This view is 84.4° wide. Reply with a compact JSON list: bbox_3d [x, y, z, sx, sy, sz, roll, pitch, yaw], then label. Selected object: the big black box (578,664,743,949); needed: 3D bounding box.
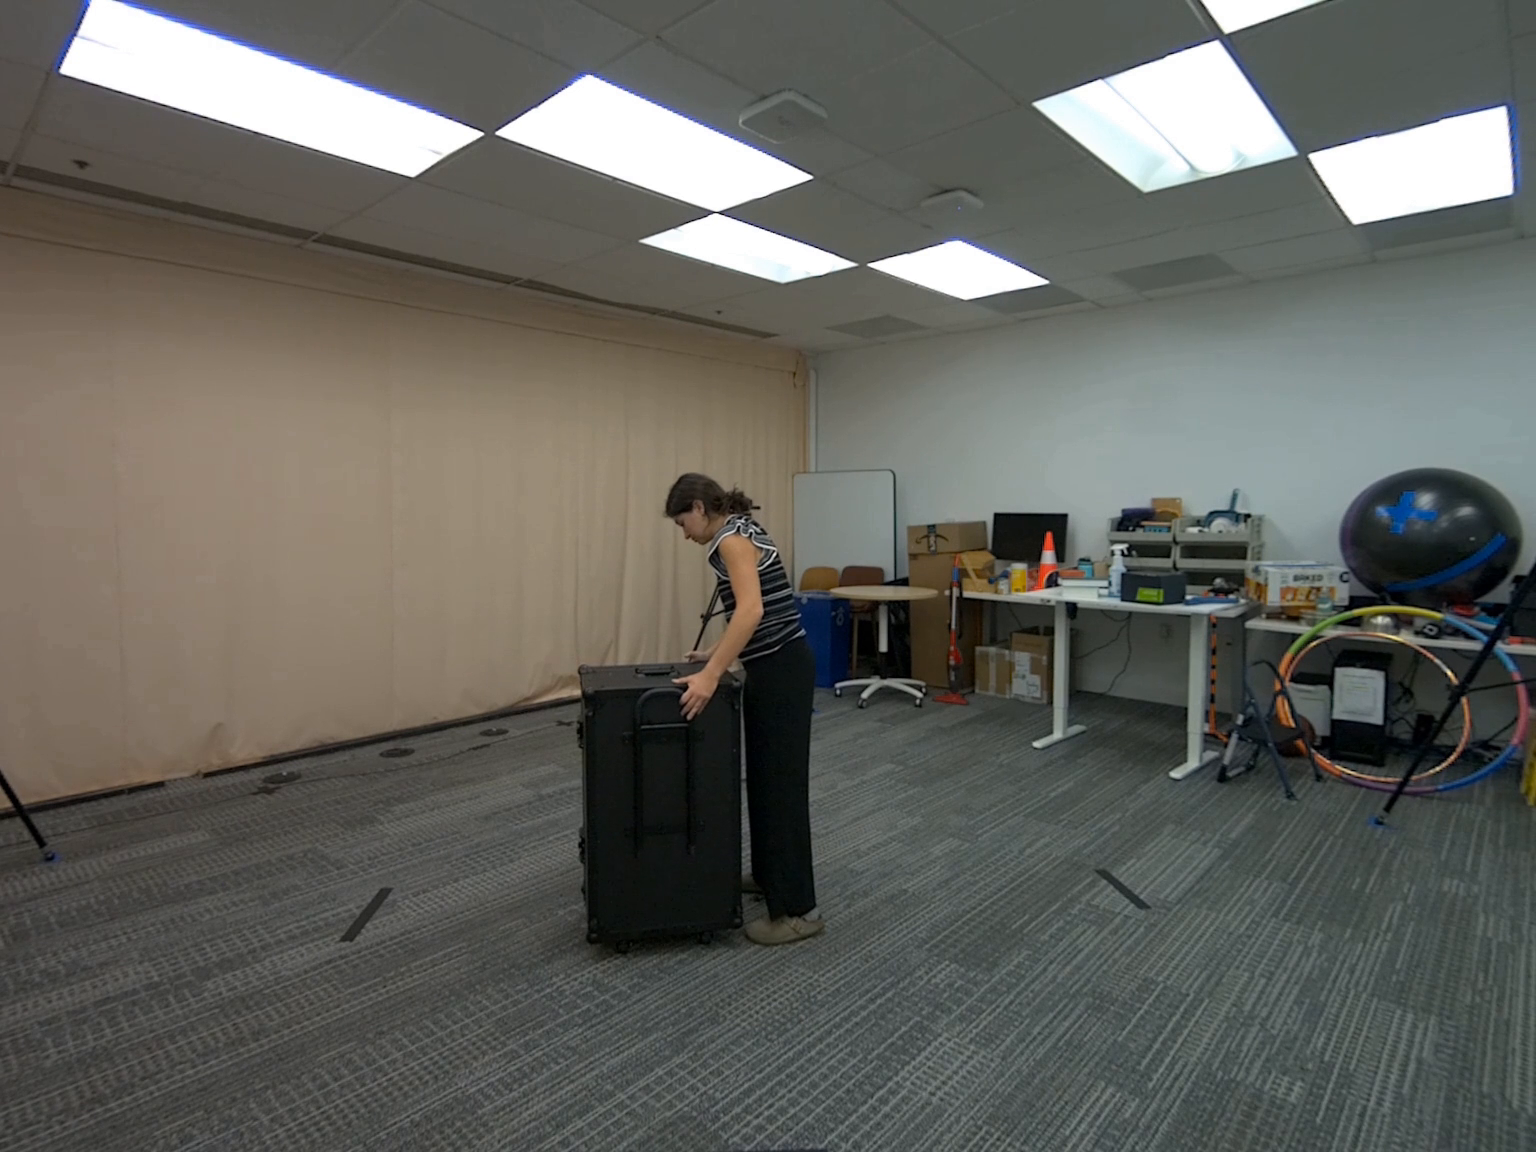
[{"bbox_3d":[-0.356,0.743,2.728,0.514,0.859,0.403,-1,5,-13],"label":"big black box"}]
